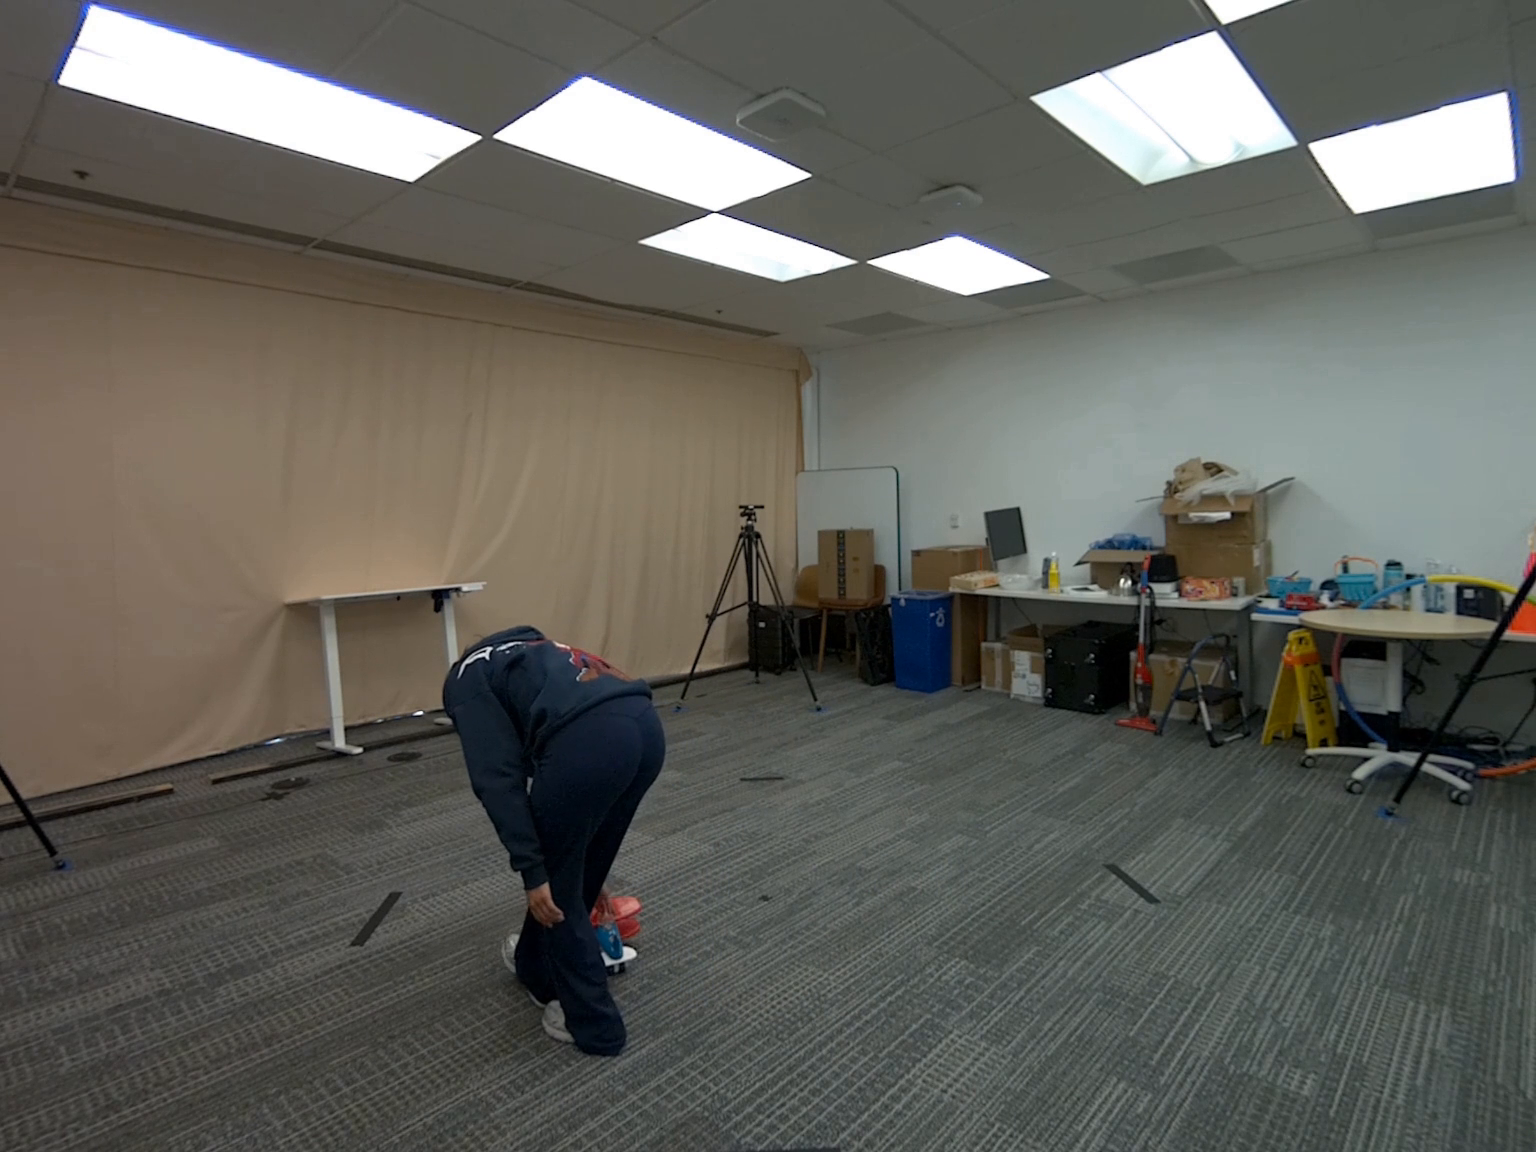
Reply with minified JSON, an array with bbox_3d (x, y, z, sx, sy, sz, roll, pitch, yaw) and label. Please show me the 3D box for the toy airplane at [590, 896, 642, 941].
[{"bbox_3d":[-0.490,1.112,2.604,0.267,0.156,0.244,0,4,34],"label":"toy airplane"}]
